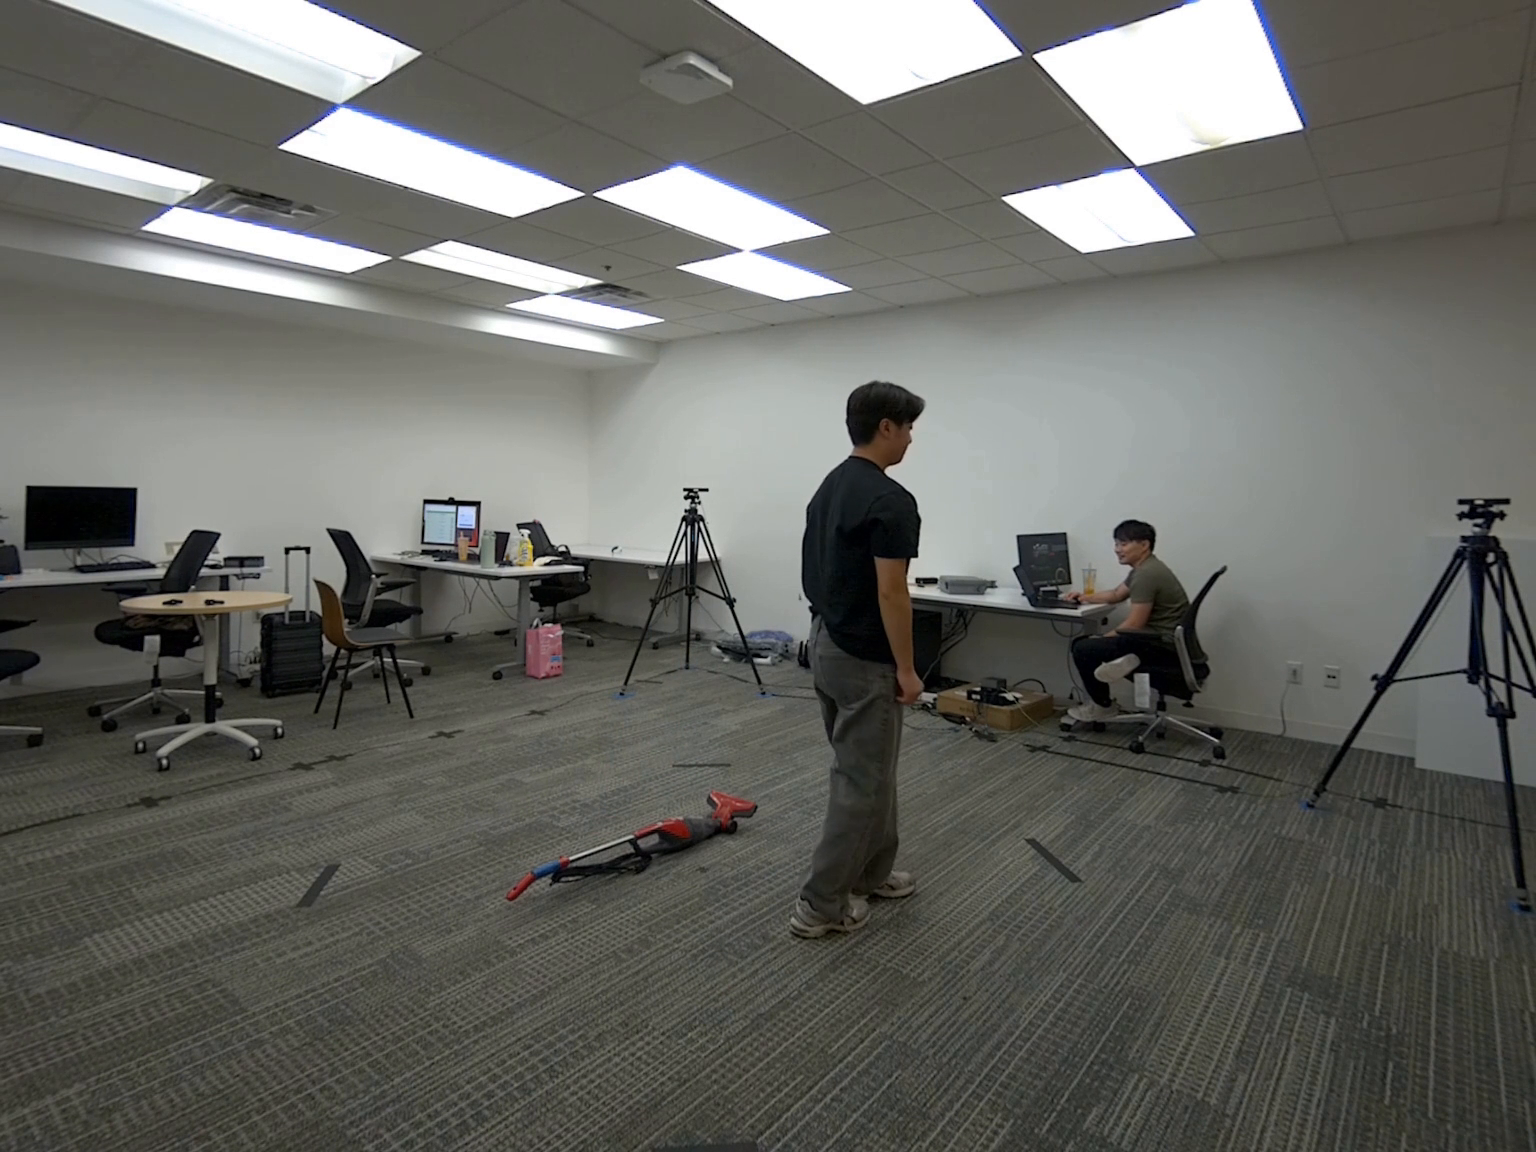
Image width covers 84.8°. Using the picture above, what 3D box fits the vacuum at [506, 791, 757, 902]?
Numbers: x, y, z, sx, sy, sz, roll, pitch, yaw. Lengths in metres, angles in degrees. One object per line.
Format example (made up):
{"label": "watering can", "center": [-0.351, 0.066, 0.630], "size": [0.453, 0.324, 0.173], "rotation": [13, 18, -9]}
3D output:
{"label": "vacuum", "center": [-0.500, 1.005, 3.126], "size": [0.261, 0.143, 1.018], "rotation": [4, 6, 42]}
